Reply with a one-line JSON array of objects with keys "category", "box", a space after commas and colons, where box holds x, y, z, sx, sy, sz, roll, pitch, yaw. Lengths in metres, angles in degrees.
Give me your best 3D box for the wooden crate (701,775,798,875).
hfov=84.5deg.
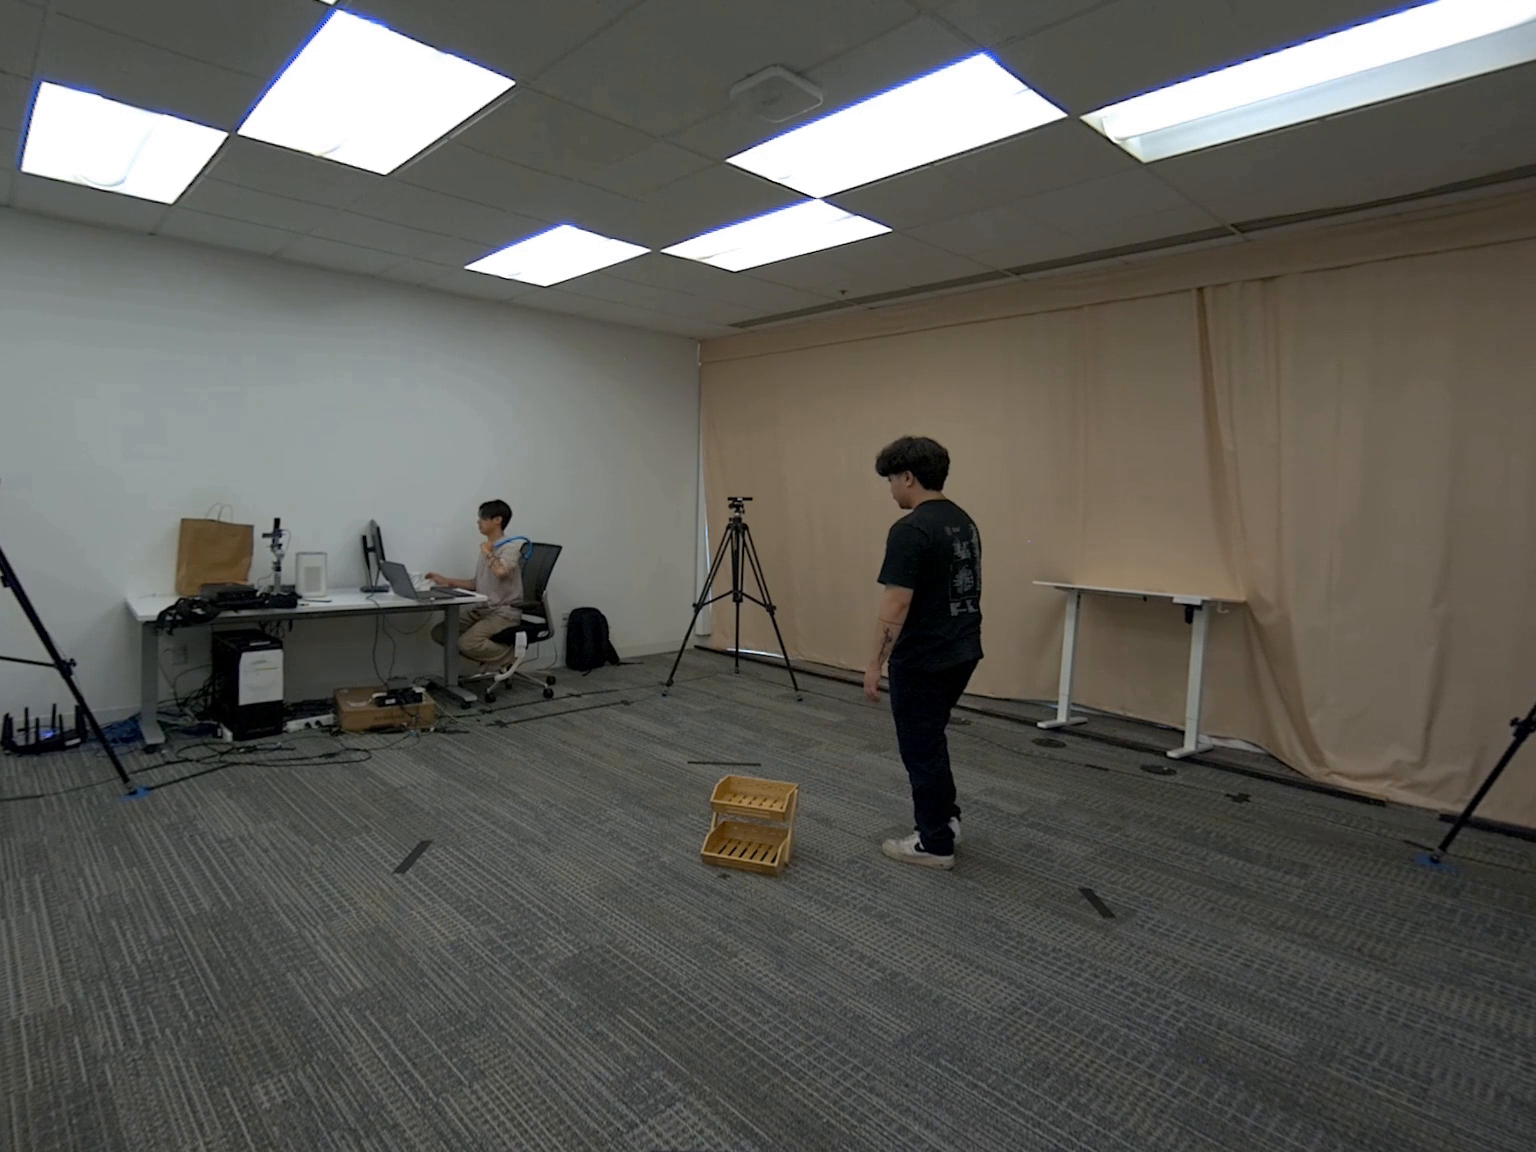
[{"category": "wooden crate", "box": [-0.074, 0.962, 3.270, 0.329, 0.273, 0.298, 2, 3, 17]}]
